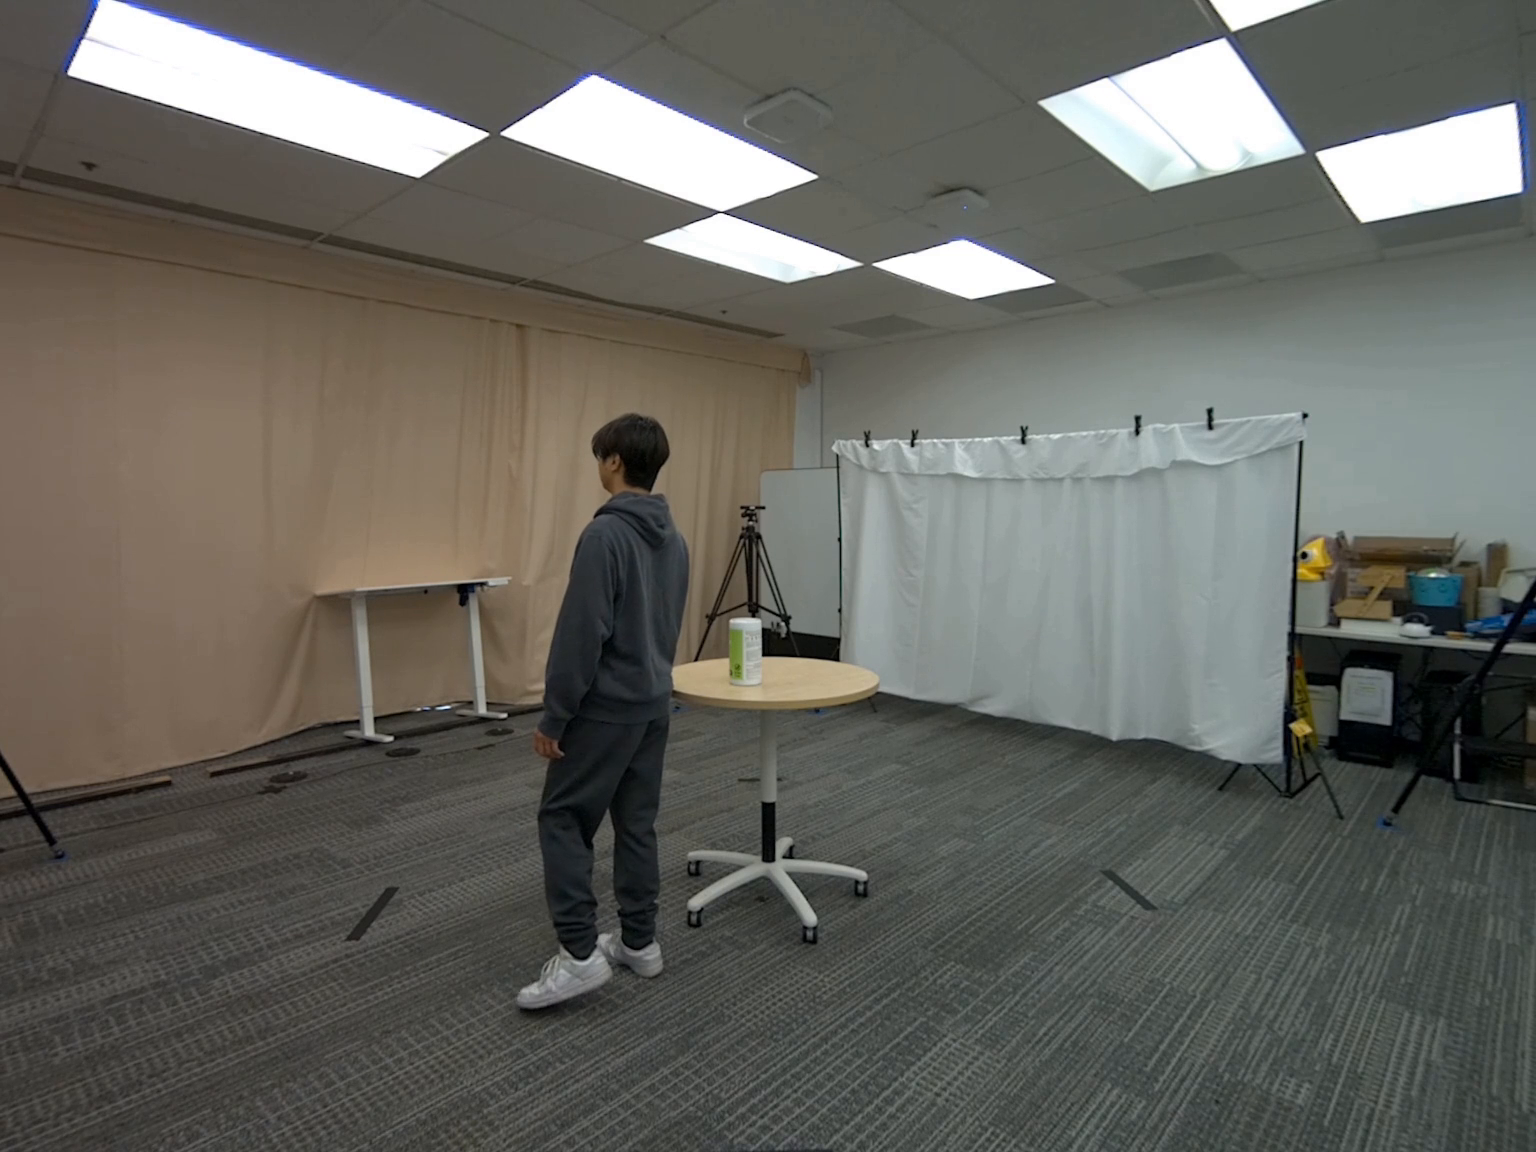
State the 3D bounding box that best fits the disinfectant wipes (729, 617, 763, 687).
[{"bbox_3d":[-0.066,0.256,2.826,0.118,0.217,0.118,-1,4,-2],"label":"disinfectant wipes"}]
